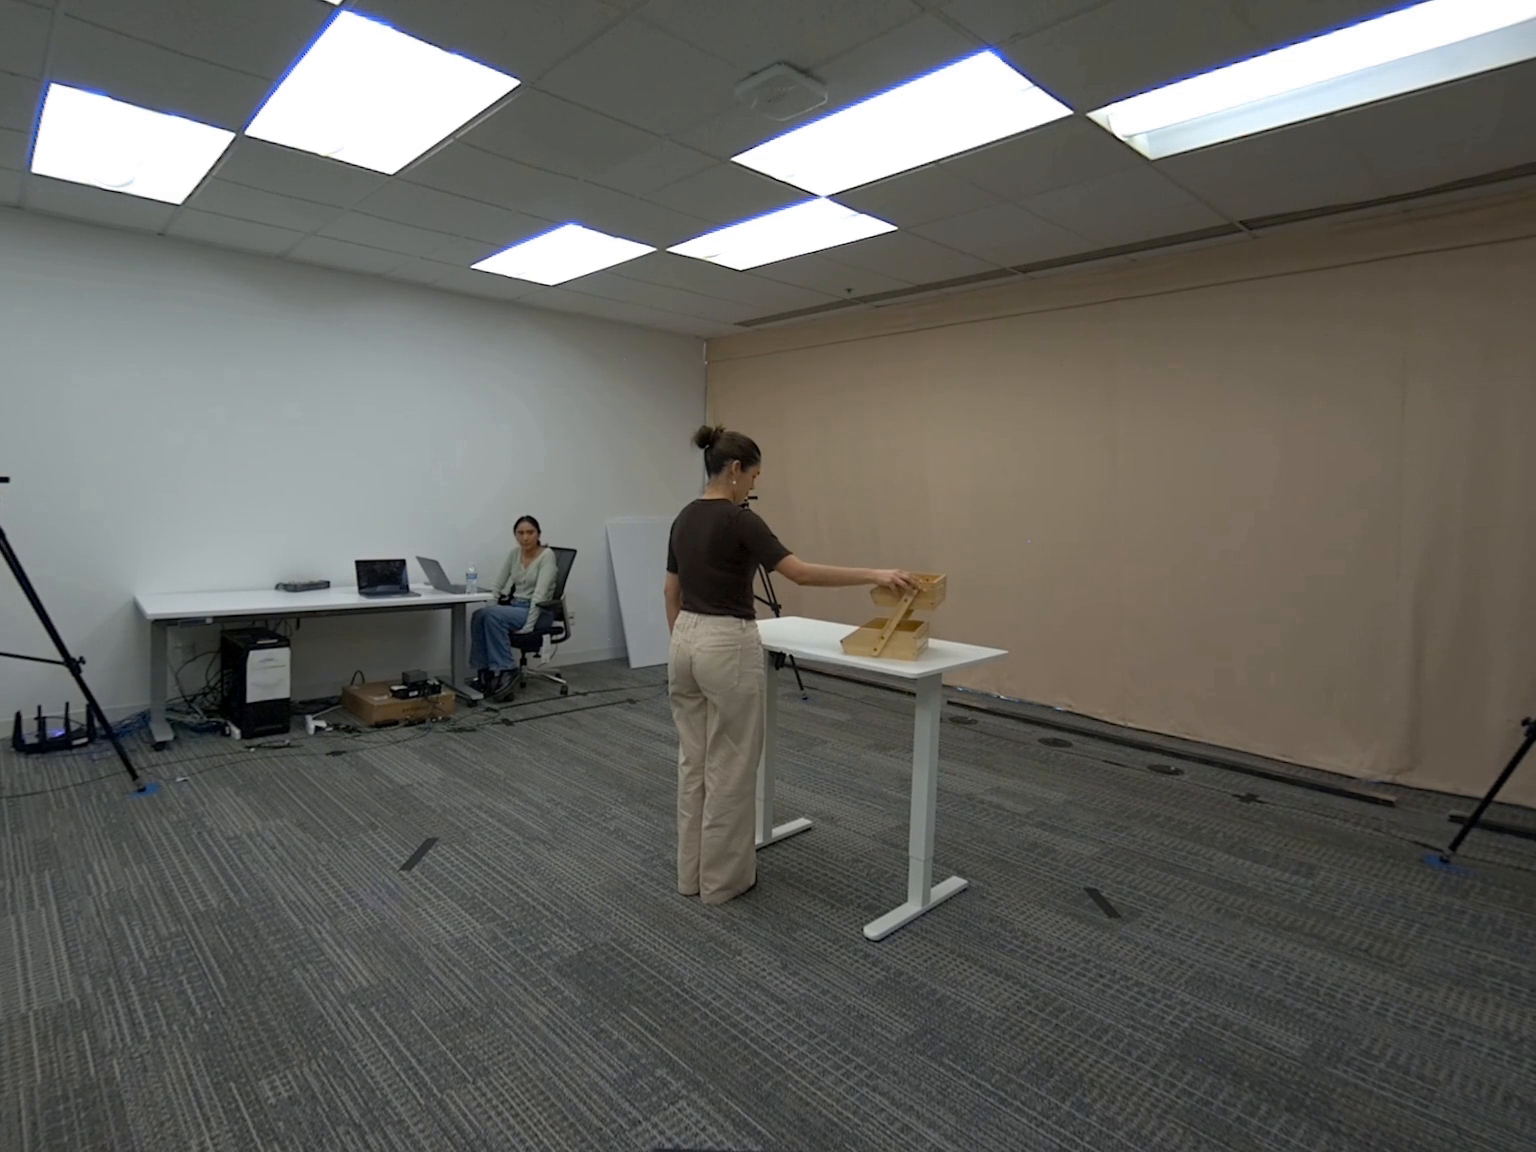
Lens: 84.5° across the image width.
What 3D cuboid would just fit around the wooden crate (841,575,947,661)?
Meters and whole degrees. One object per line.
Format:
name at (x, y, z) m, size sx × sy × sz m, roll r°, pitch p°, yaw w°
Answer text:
wooden crate at (0.423, 0.125, 2.863) m, size 0.307 × 0.272 × 0.320 m, roll 4°, pitch 5°, yaw 19°
